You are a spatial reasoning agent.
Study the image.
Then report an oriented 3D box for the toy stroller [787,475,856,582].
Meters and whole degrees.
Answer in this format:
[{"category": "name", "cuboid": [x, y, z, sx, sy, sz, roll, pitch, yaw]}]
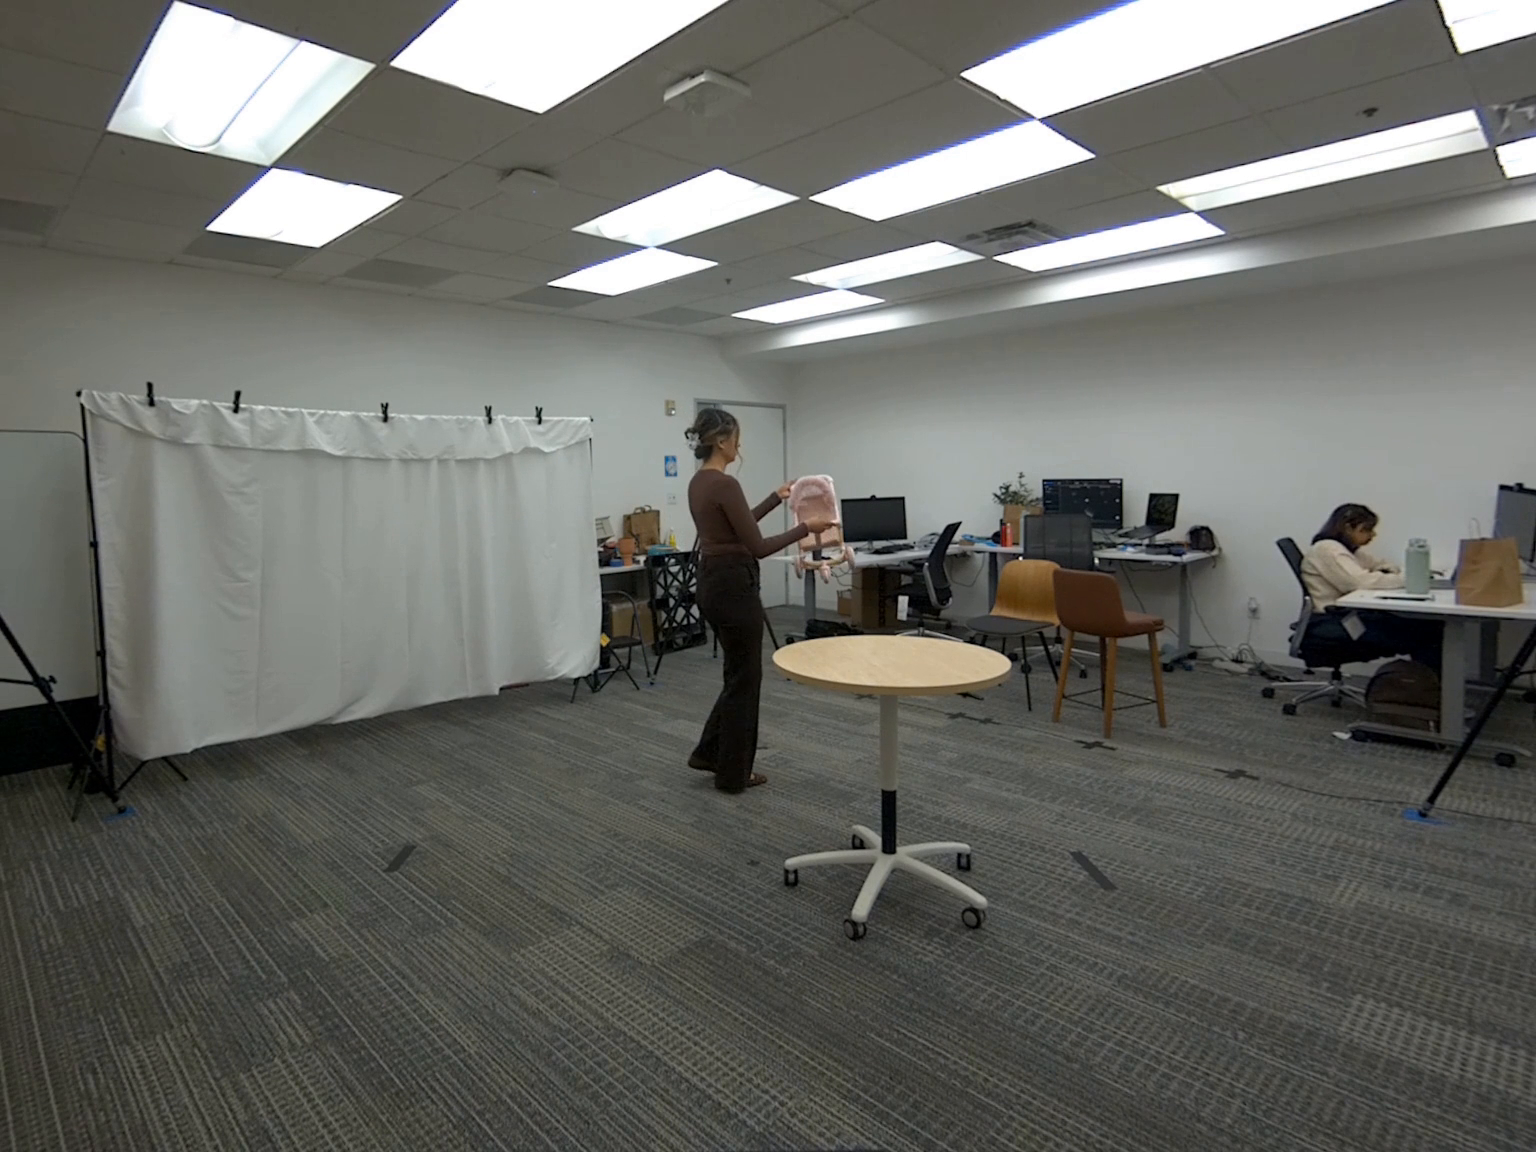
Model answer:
[{"category": "toy stroller", "cuboid": [0.219, -0.217, 3.898, 0.284, 0.539, 0.335, -10, -7, 11]}]
